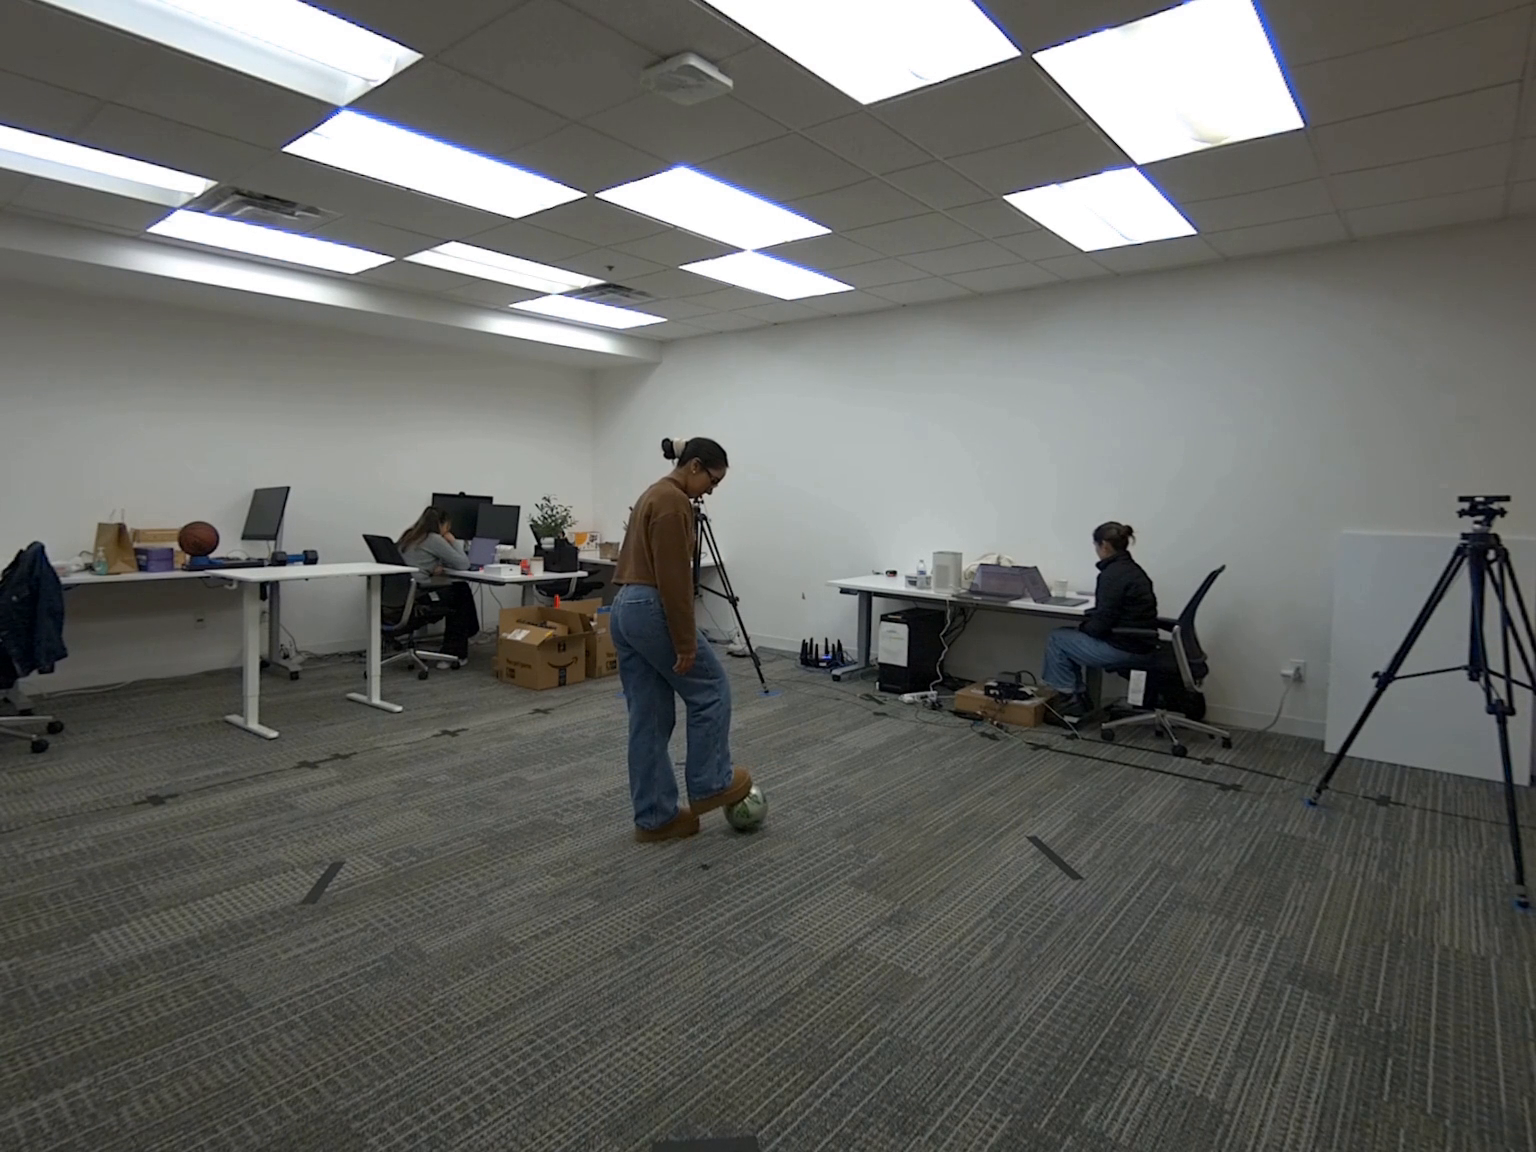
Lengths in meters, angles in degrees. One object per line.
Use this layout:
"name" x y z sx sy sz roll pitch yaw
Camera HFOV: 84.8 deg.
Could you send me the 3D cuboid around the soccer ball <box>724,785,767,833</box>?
"soccer ball" -0.102 0.944 3.483 0.187 0.187 0.188 1 4 -2
